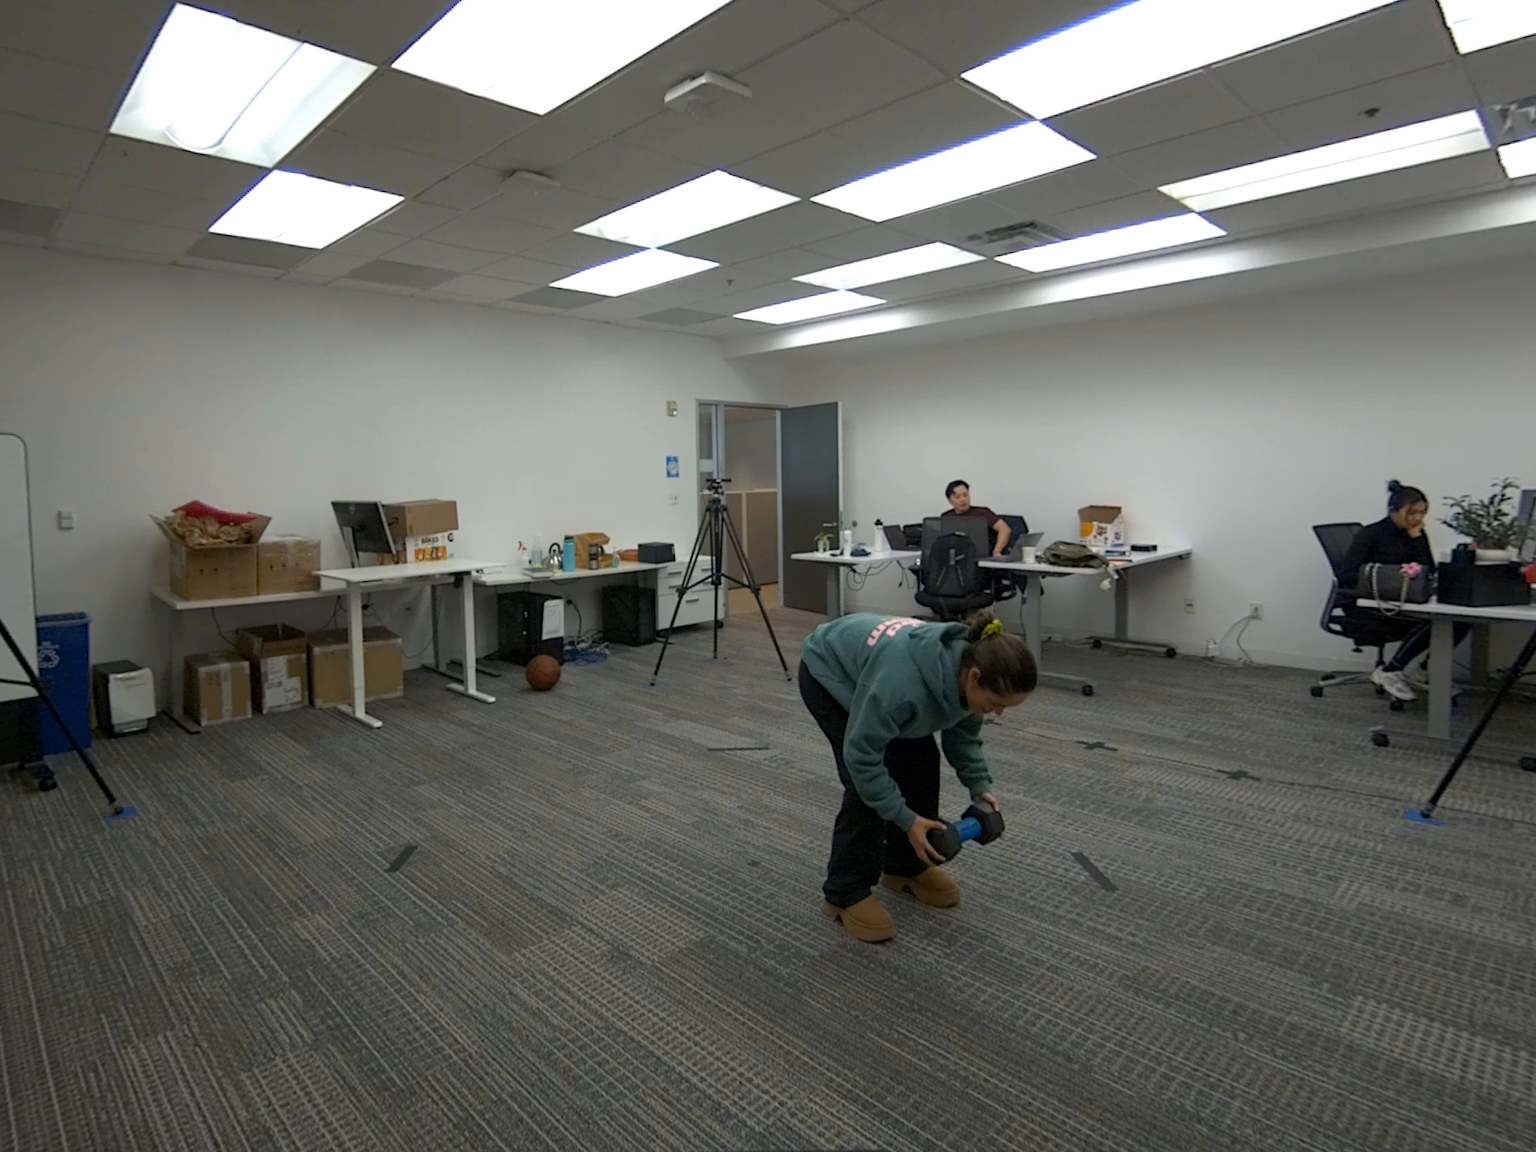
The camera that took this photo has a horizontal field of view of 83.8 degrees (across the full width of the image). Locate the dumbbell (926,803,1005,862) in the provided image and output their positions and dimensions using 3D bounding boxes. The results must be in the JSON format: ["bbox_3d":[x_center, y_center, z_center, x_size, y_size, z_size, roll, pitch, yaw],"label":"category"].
[{"bbox_3d":[0.560,0.755,2.542,0.286,0.124,0.110,-6,-13,-36],"label":"dumbbell"}]
